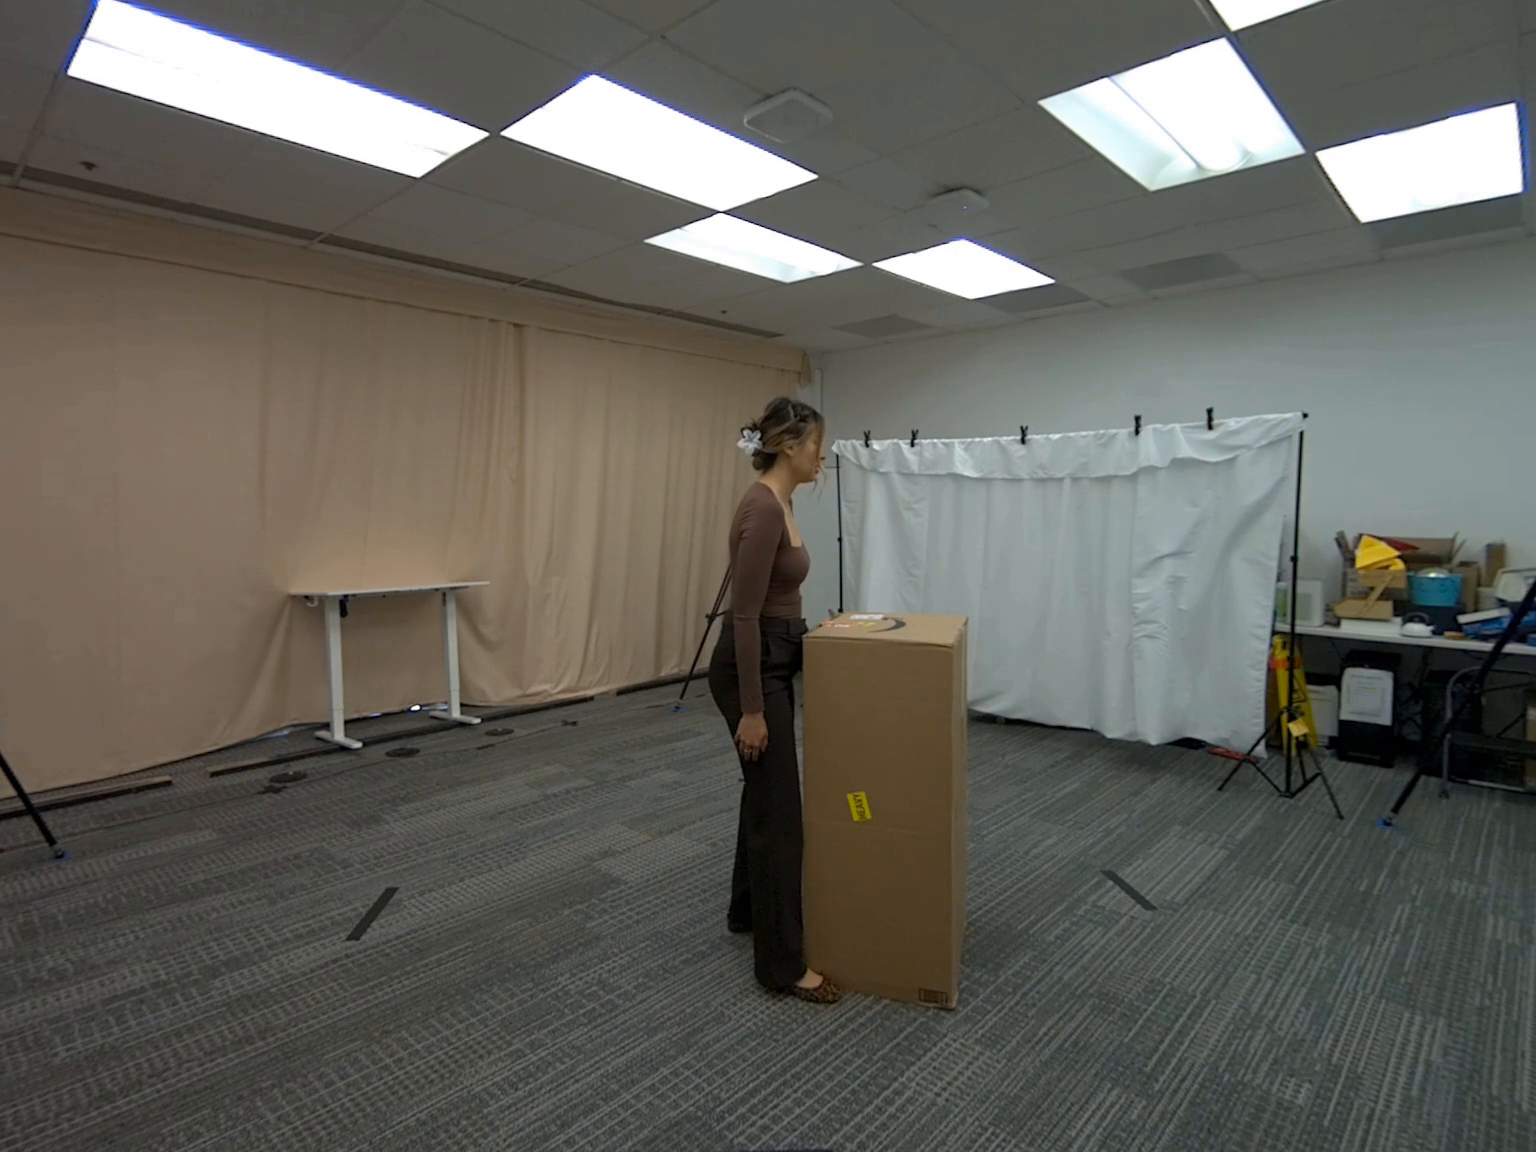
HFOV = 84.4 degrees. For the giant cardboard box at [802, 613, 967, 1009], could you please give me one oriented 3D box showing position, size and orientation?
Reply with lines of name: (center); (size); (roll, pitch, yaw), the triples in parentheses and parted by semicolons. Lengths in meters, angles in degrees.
giant cardboard box: (0.392, 0.662, 2.634); (0.456, 1.025, 0.573); (1, 3, 19)
